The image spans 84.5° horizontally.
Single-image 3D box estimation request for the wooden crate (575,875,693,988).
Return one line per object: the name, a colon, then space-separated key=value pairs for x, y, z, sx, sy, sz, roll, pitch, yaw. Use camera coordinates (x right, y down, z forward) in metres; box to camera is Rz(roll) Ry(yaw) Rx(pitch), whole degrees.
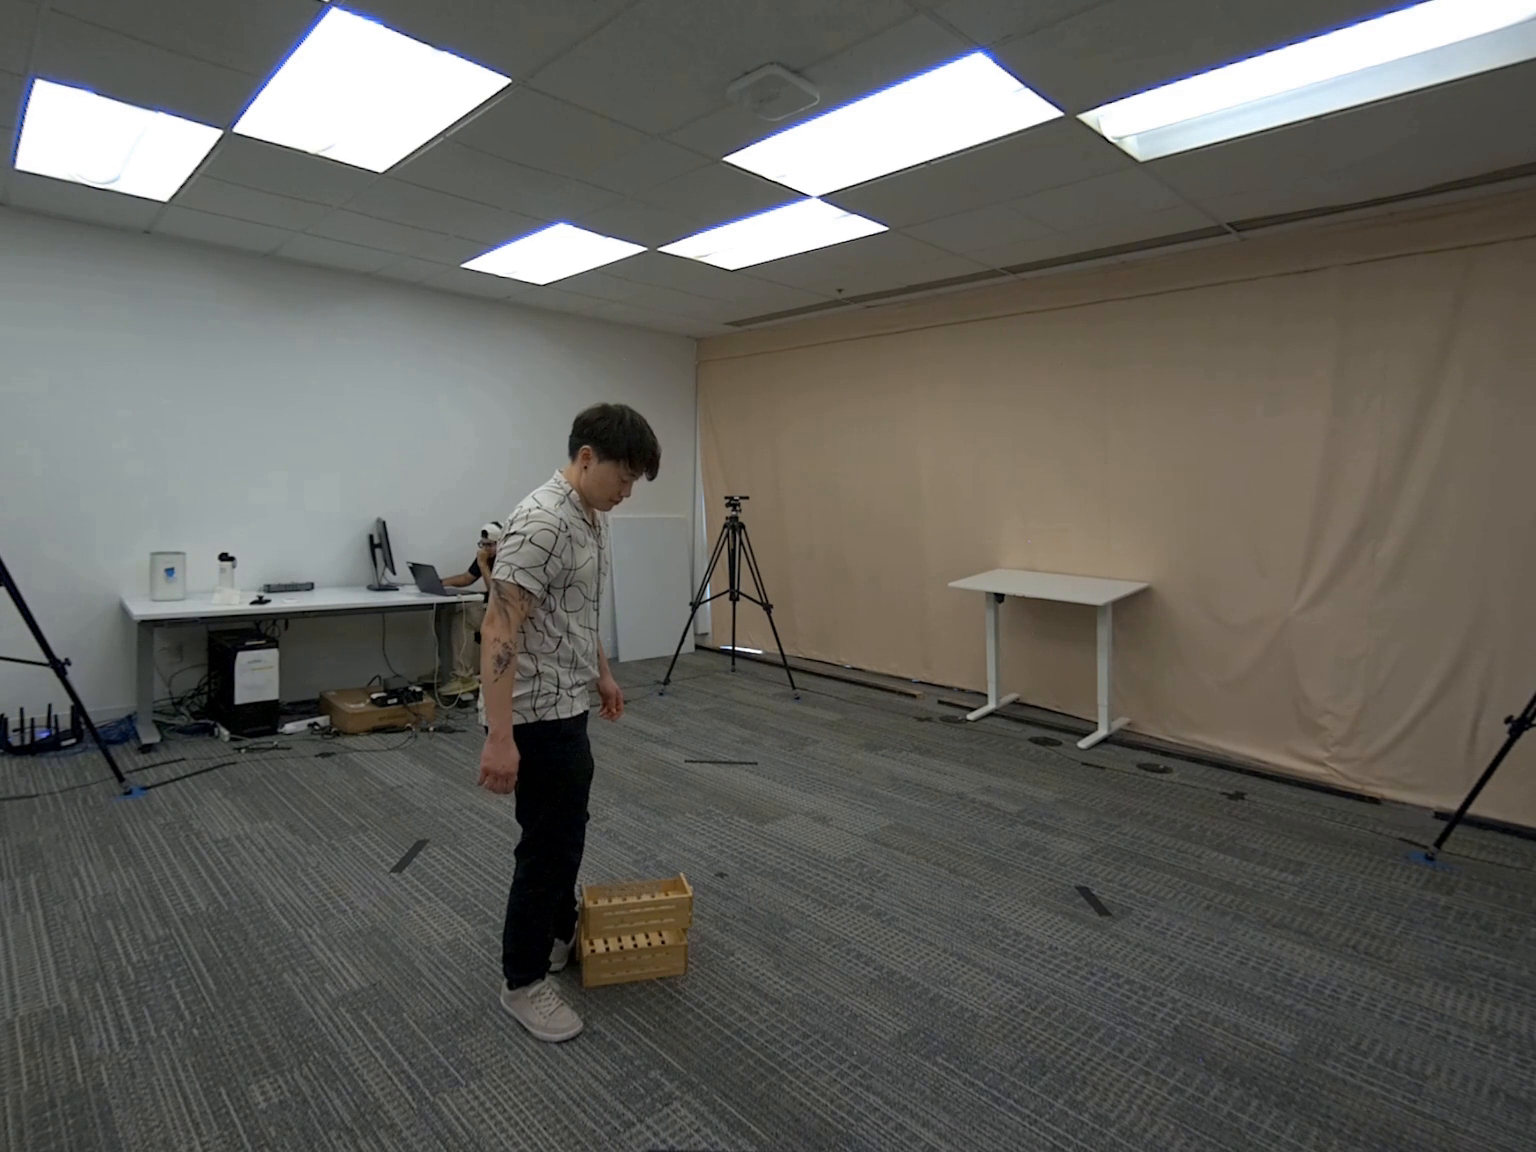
wooden crate: x=-0.405 y=1.021 z=2.496 sx=0.321 sy=0.272 sz=0.306 roll=-1 pitch=5 yaw=-15
